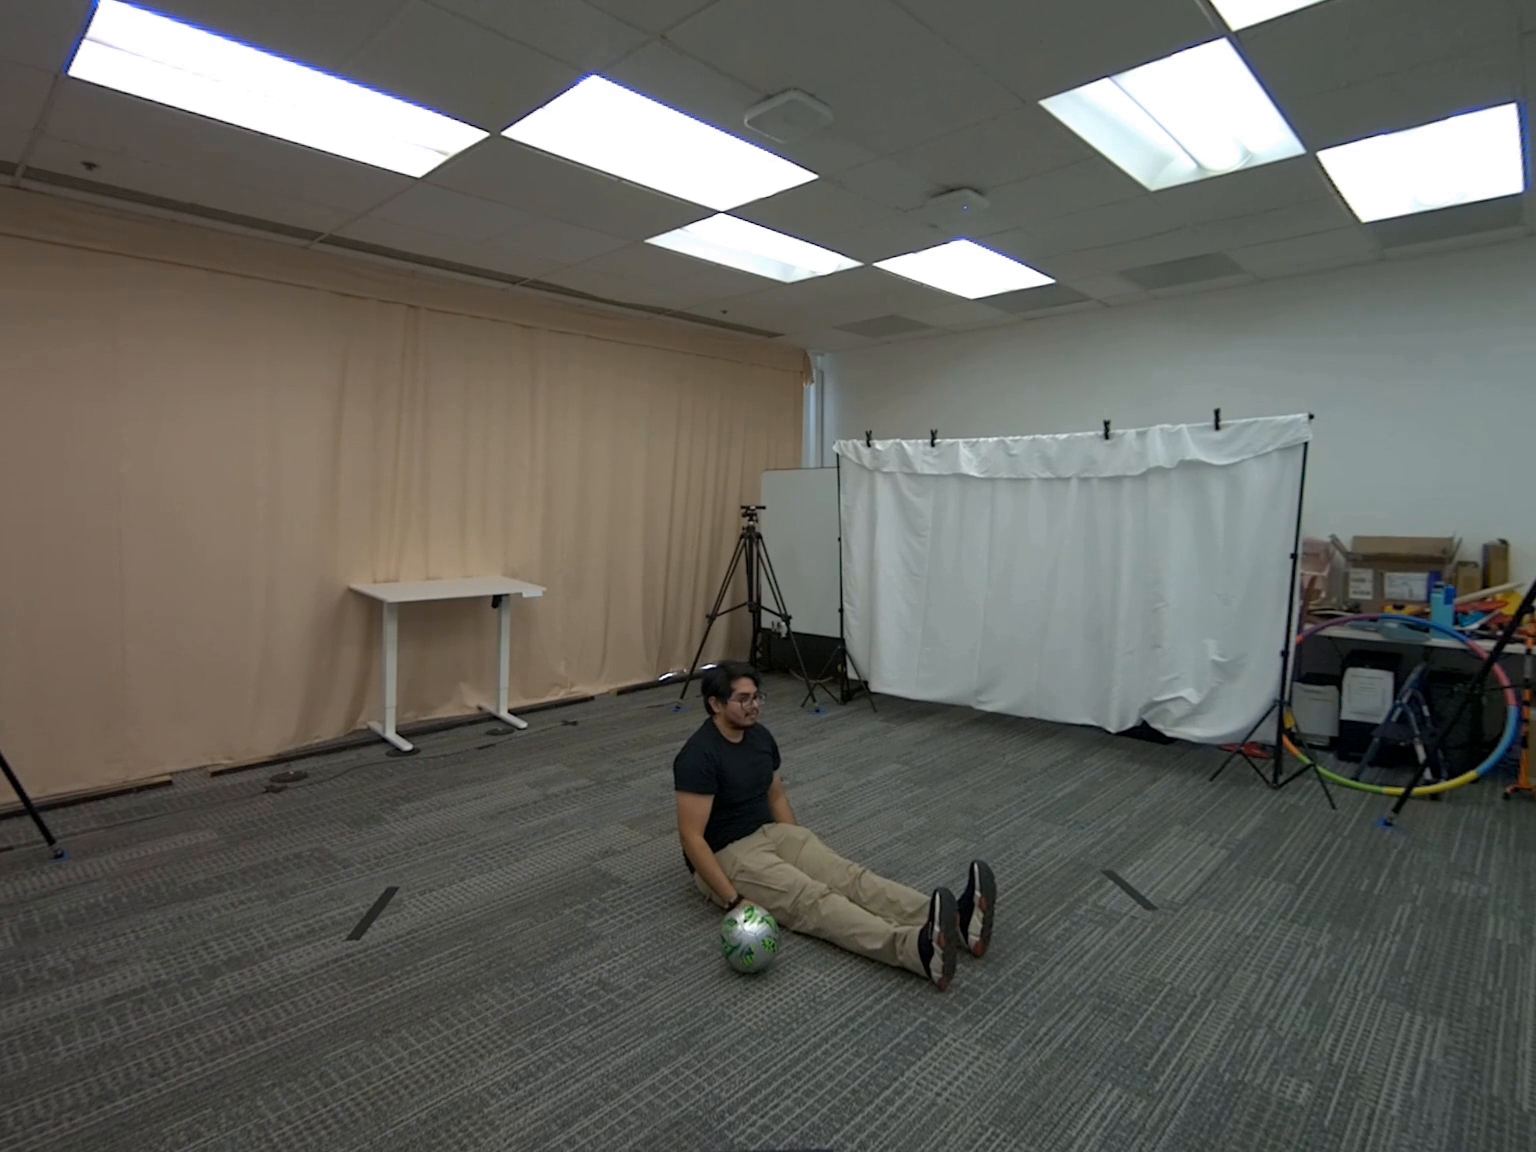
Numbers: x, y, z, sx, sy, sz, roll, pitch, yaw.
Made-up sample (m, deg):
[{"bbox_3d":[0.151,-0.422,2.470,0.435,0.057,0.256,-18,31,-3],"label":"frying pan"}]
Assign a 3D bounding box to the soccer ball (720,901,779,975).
[{"bbox_3d":[-0.062,1.080,2.531,0.187,0.187,0.188,0,4,-2],"label":"soccer ball"}]
